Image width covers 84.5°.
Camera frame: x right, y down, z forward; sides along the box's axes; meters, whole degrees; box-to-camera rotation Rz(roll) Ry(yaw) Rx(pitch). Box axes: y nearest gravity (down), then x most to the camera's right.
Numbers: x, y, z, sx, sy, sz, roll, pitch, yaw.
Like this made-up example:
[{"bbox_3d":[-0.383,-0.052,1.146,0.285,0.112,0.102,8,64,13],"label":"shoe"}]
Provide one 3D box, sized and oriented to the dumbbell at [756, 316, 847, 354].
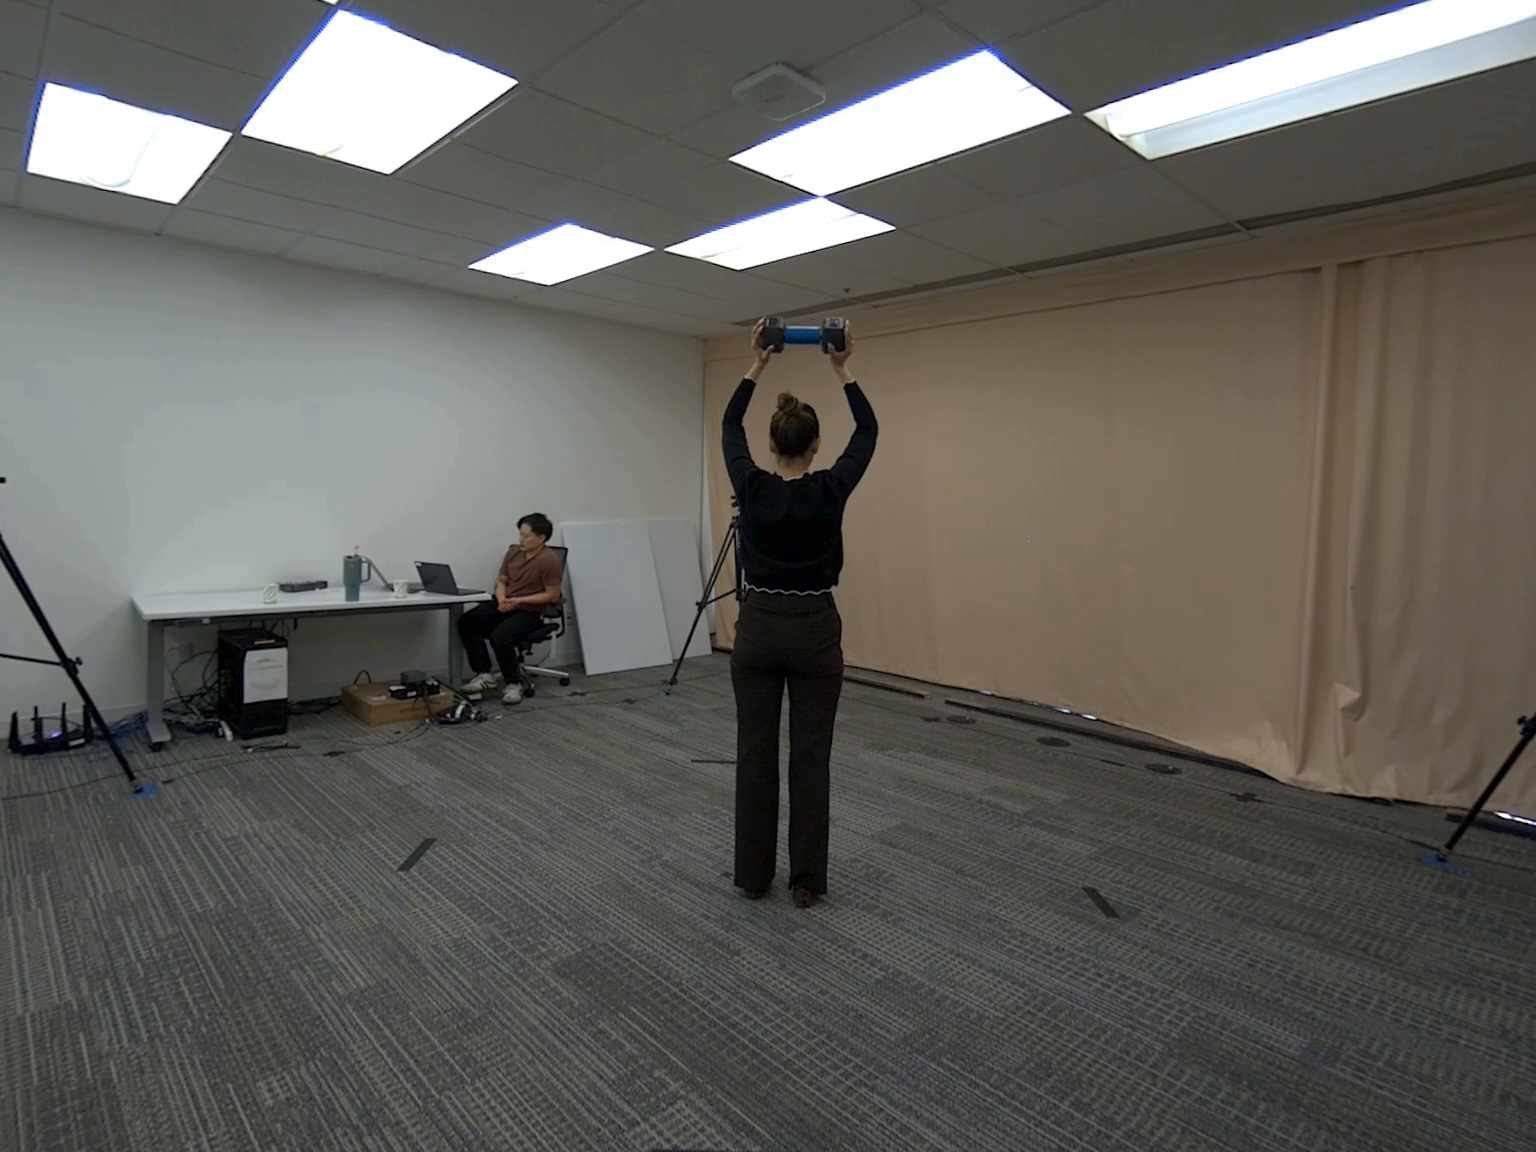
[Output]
[{"bbox_3d":[0.133,-0.834,2.922,0.296,0.109,0.121,4,-12,10],"label":"dumbbell"}]
